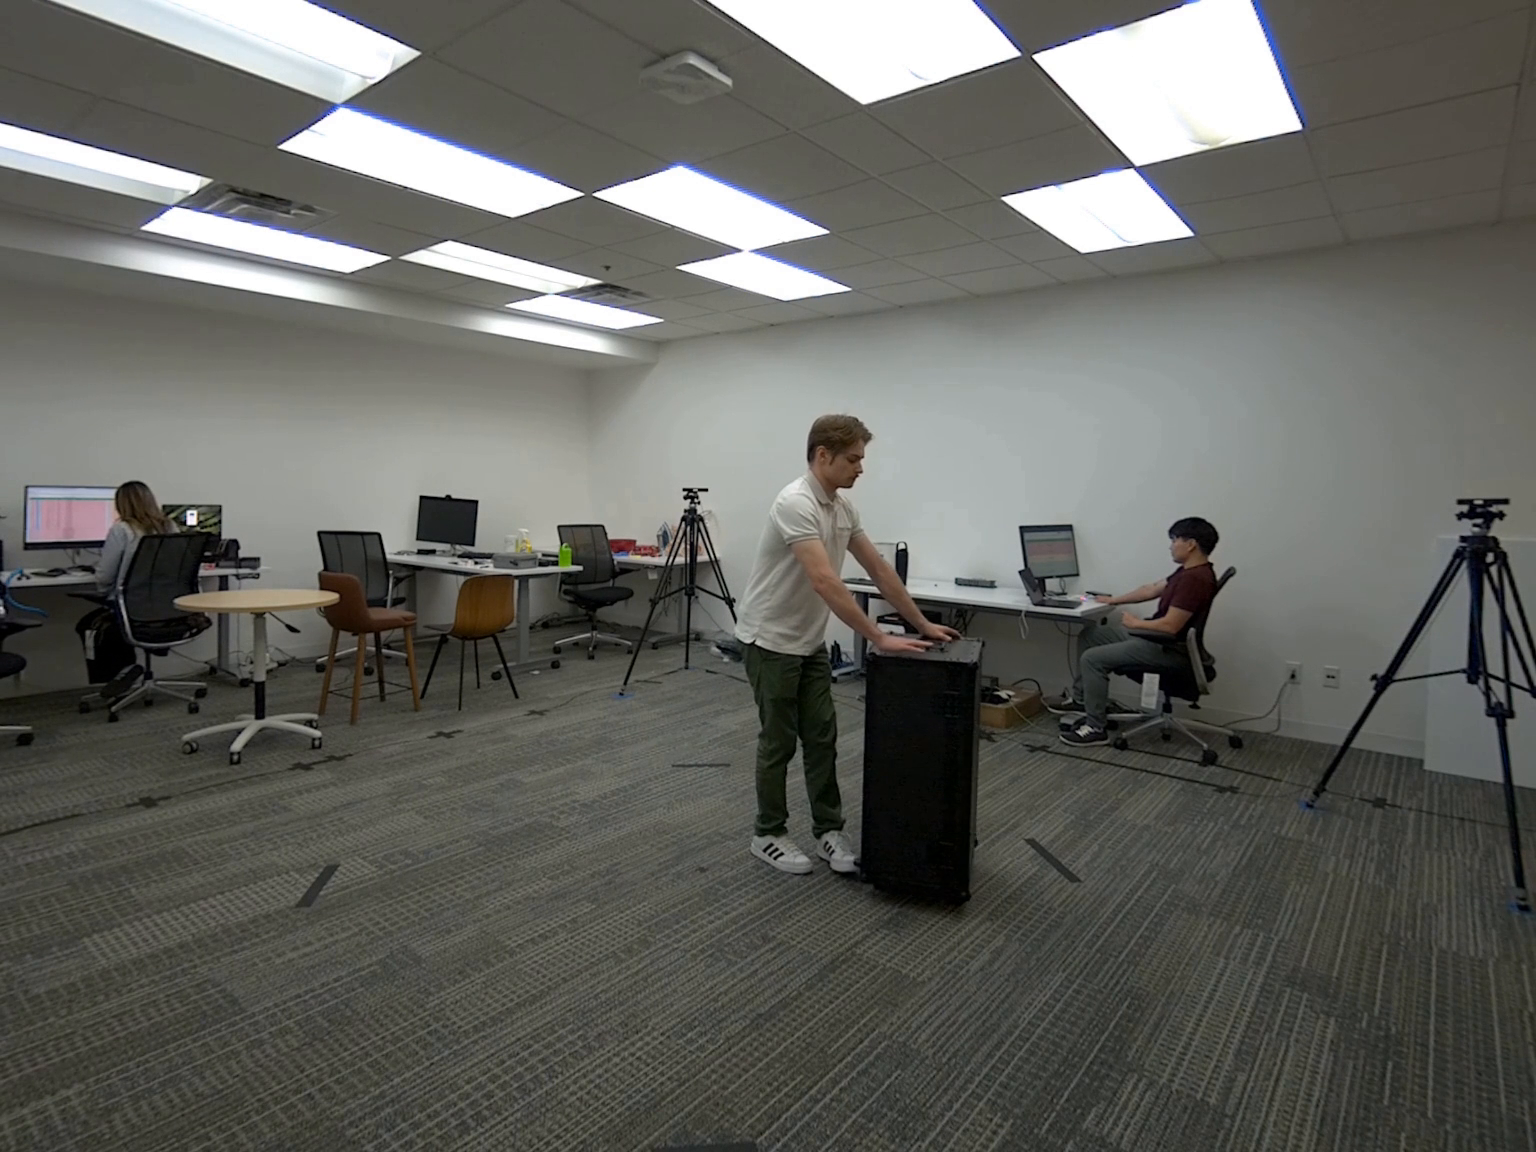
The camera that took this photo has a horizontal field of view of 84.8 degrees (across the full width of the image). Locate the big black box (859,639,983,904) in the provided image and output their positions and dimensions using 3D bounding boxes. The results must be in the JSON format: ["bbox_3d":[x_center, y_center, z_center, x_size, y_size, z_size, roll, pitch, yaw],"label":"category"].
[{"bbox_3d":[0.544,0.670,3.018,0.392,0.866,0.515,1,4,16],"label":"big black box"}]
